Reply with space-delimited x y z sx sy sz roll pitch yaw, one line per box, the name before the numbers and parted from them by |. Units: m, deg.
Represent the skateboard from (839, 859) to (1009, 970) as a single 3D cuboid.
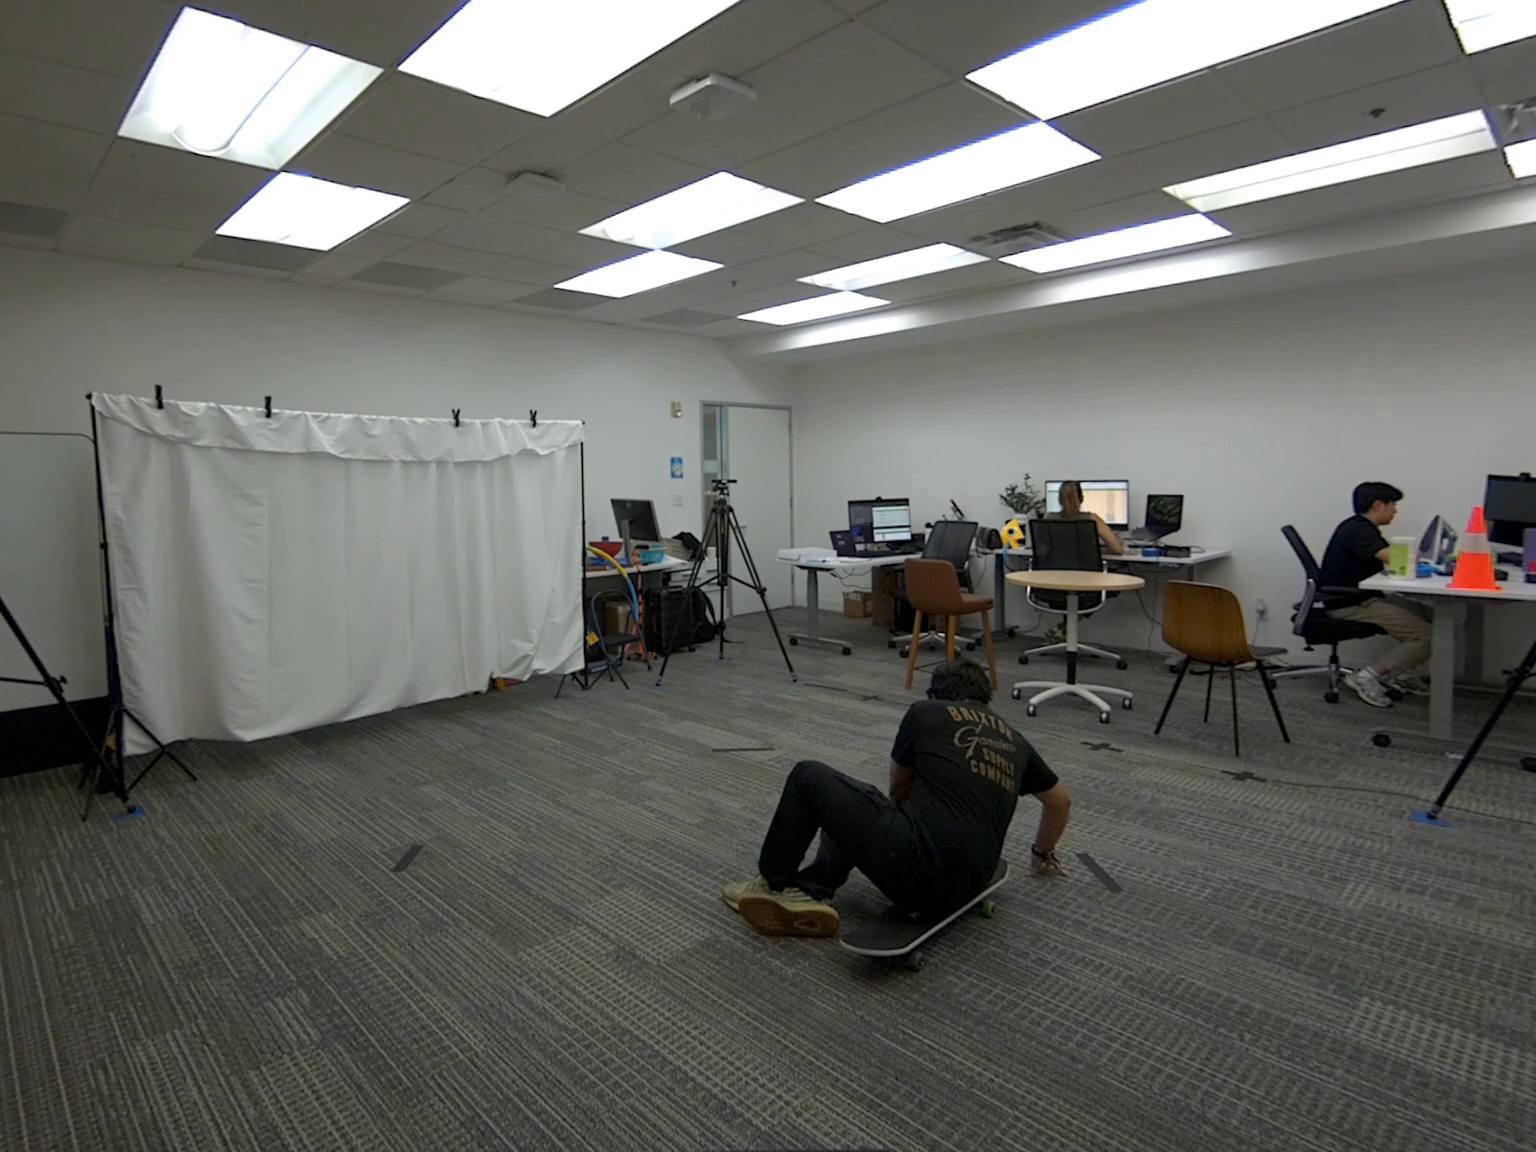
skateboard | 0.507 1.034 2.630 0.198 0.110 0.765 -5 2 44
